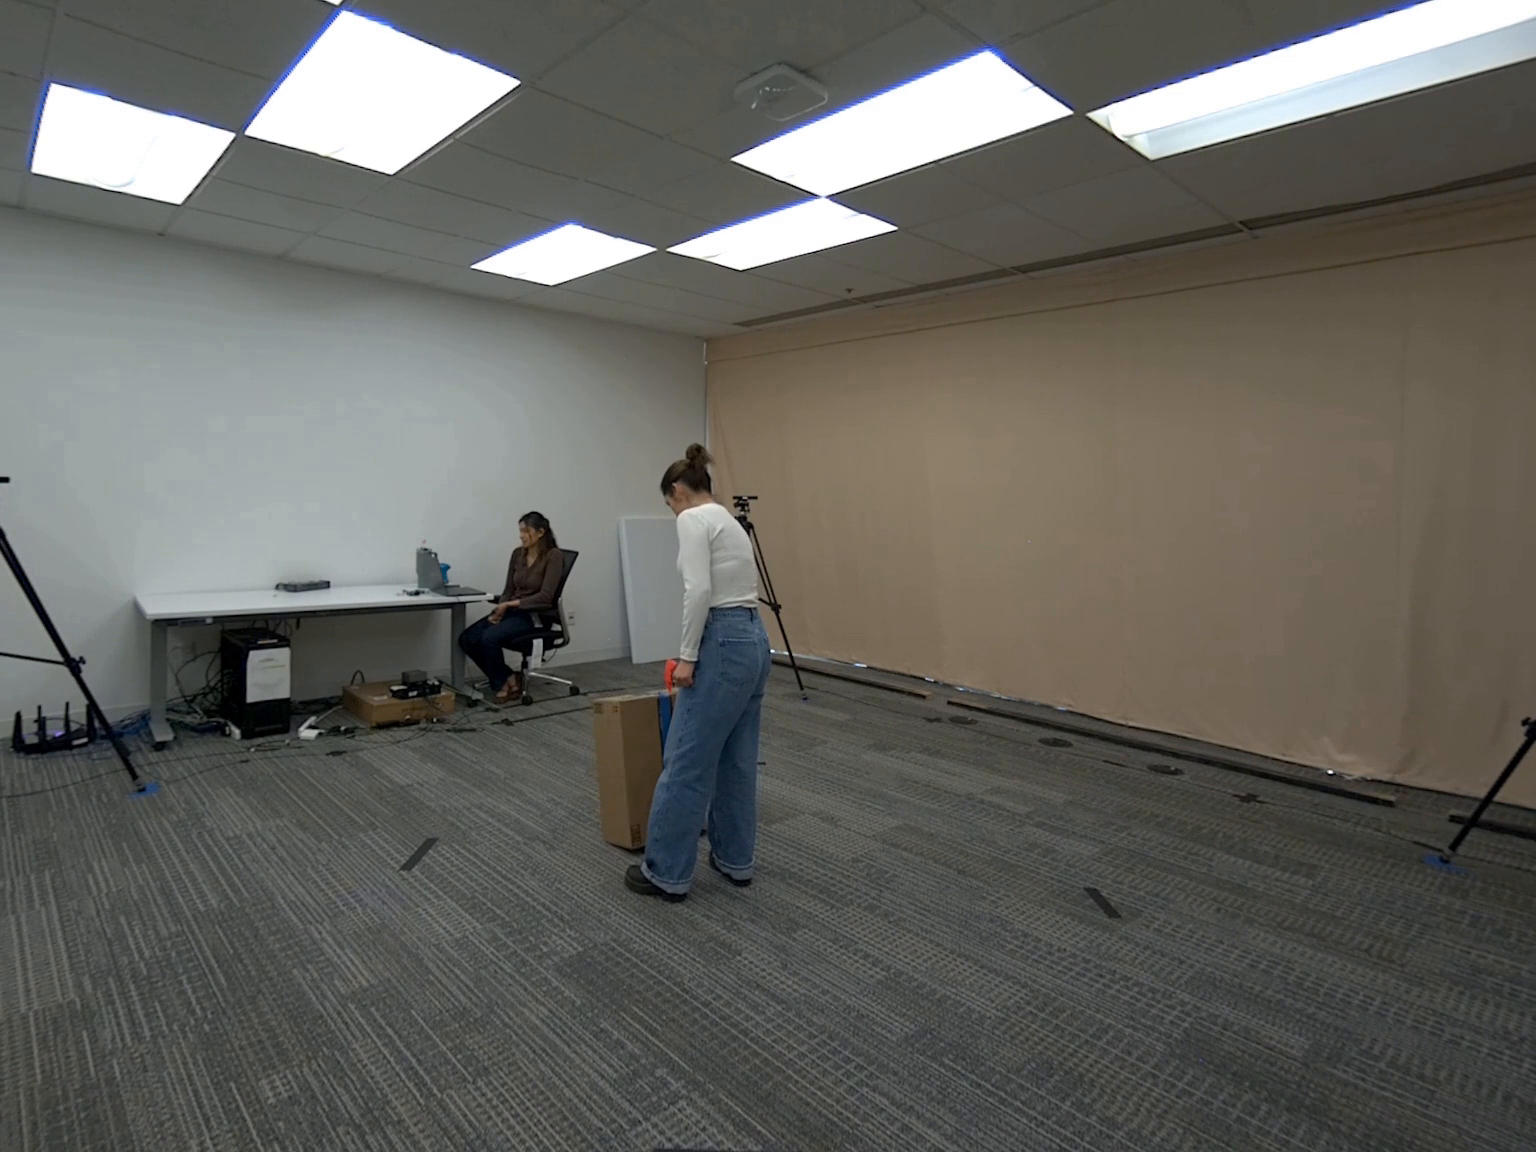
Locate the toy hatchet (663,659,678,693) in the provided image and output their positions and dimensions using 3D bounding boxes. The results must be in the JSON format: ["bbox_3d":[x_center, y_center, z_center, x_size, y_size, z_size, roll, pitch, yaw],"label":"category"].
[{"bbox_3d":[-0.357,0.382,3.468,0.029,0.133,0.272,1,-22,-46],"label":"toy hatchet"}]
